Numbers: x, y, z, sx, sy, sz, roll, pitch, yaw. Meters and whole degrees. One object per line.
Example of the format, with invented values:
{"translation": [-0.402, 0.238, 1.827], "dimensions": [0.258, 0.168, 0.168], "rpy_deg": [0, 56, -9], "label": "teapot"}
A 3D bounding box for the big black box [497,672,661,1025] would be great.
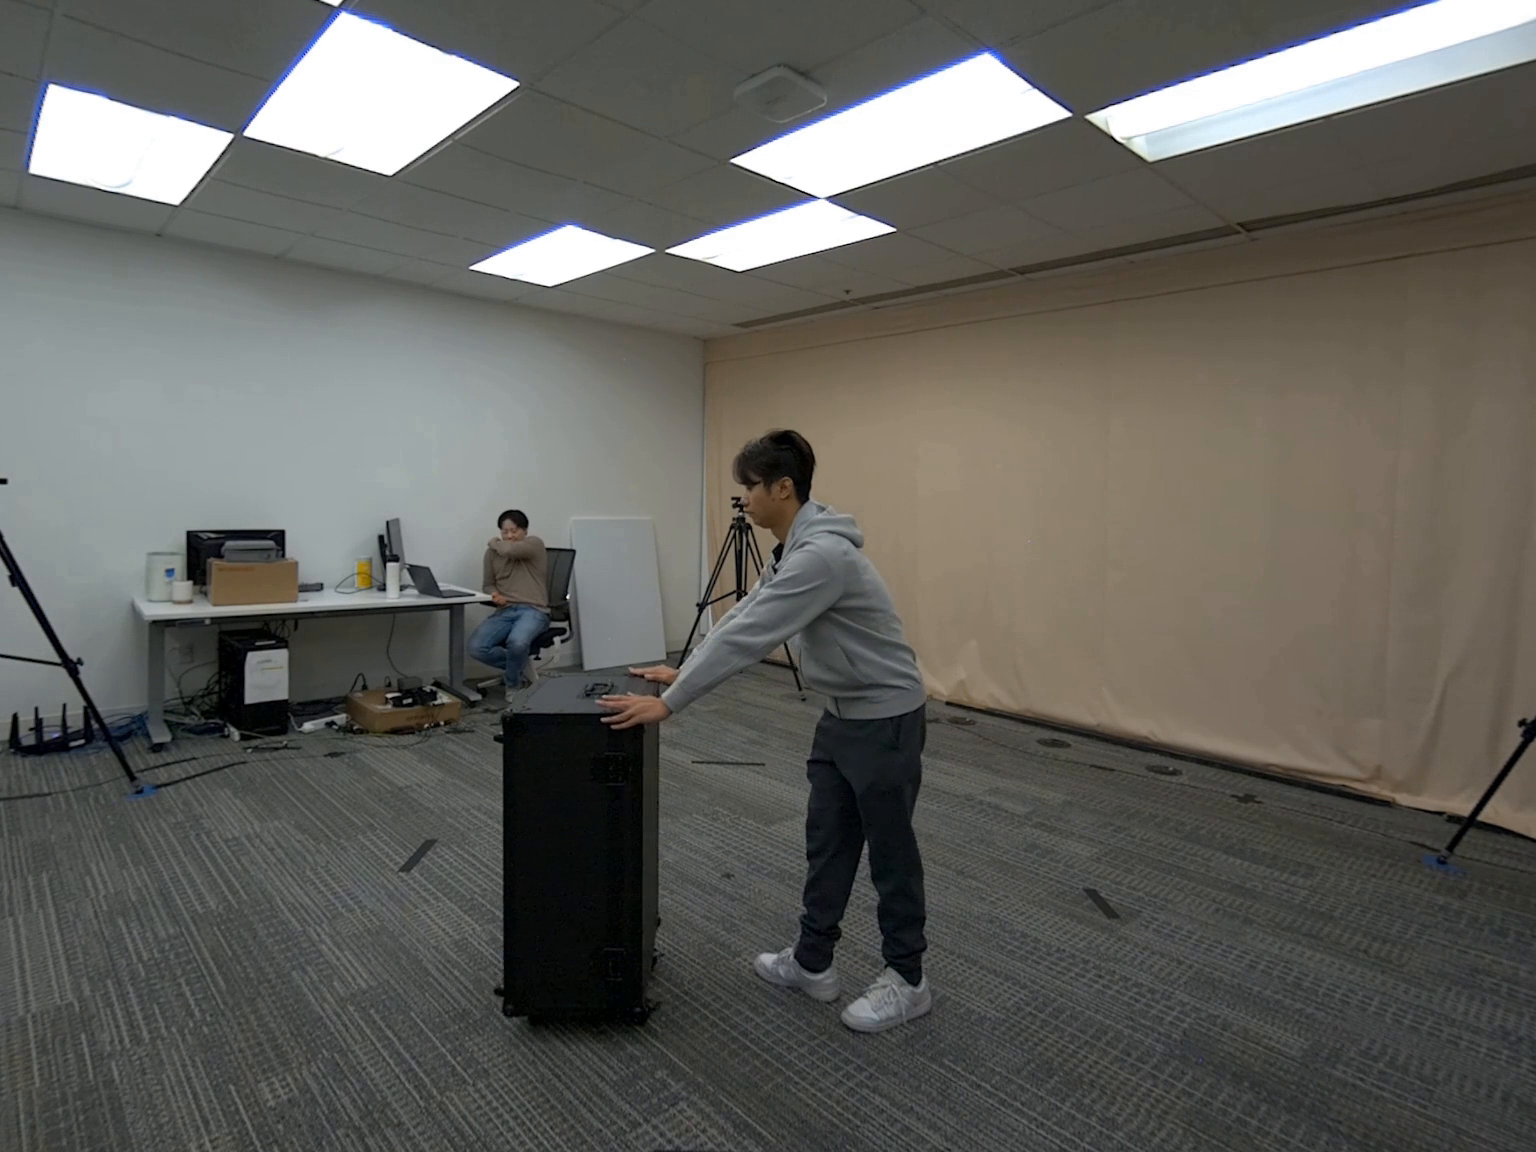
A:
{"translation": [-0.513, 0.744, 2.340], "dimensions": [0.396, 0.859, 0.523], "rpy_deg": [0, 3, -2], "label": "big black box"}
